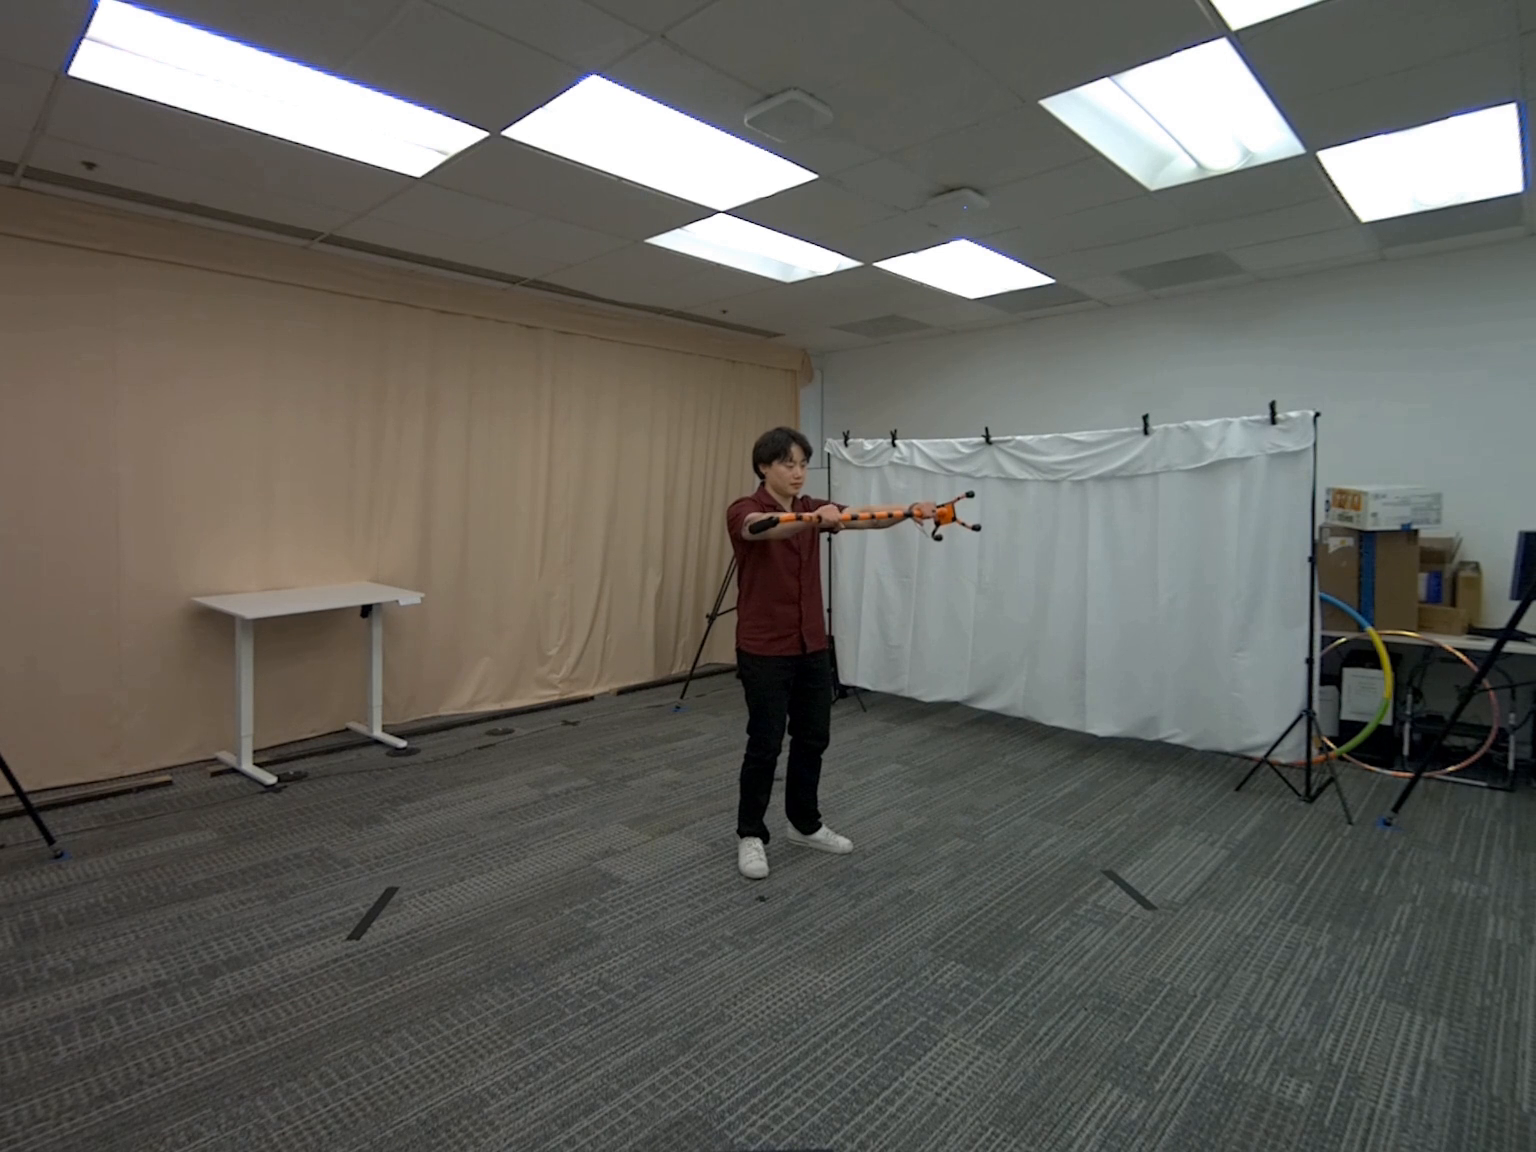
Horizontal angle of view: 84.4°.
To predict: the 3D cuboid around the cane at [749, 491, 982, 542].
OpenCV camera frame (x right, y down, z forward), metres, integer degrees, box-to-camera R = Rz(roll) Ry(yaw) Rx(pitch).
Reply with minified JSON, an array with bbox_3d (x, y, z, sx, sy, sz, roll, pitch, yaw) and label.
[{"bbox_3d":[0.357,-0.180,2.828,0.881,0.152,0.212,-6,-6,-39],"label":"cane"}]
